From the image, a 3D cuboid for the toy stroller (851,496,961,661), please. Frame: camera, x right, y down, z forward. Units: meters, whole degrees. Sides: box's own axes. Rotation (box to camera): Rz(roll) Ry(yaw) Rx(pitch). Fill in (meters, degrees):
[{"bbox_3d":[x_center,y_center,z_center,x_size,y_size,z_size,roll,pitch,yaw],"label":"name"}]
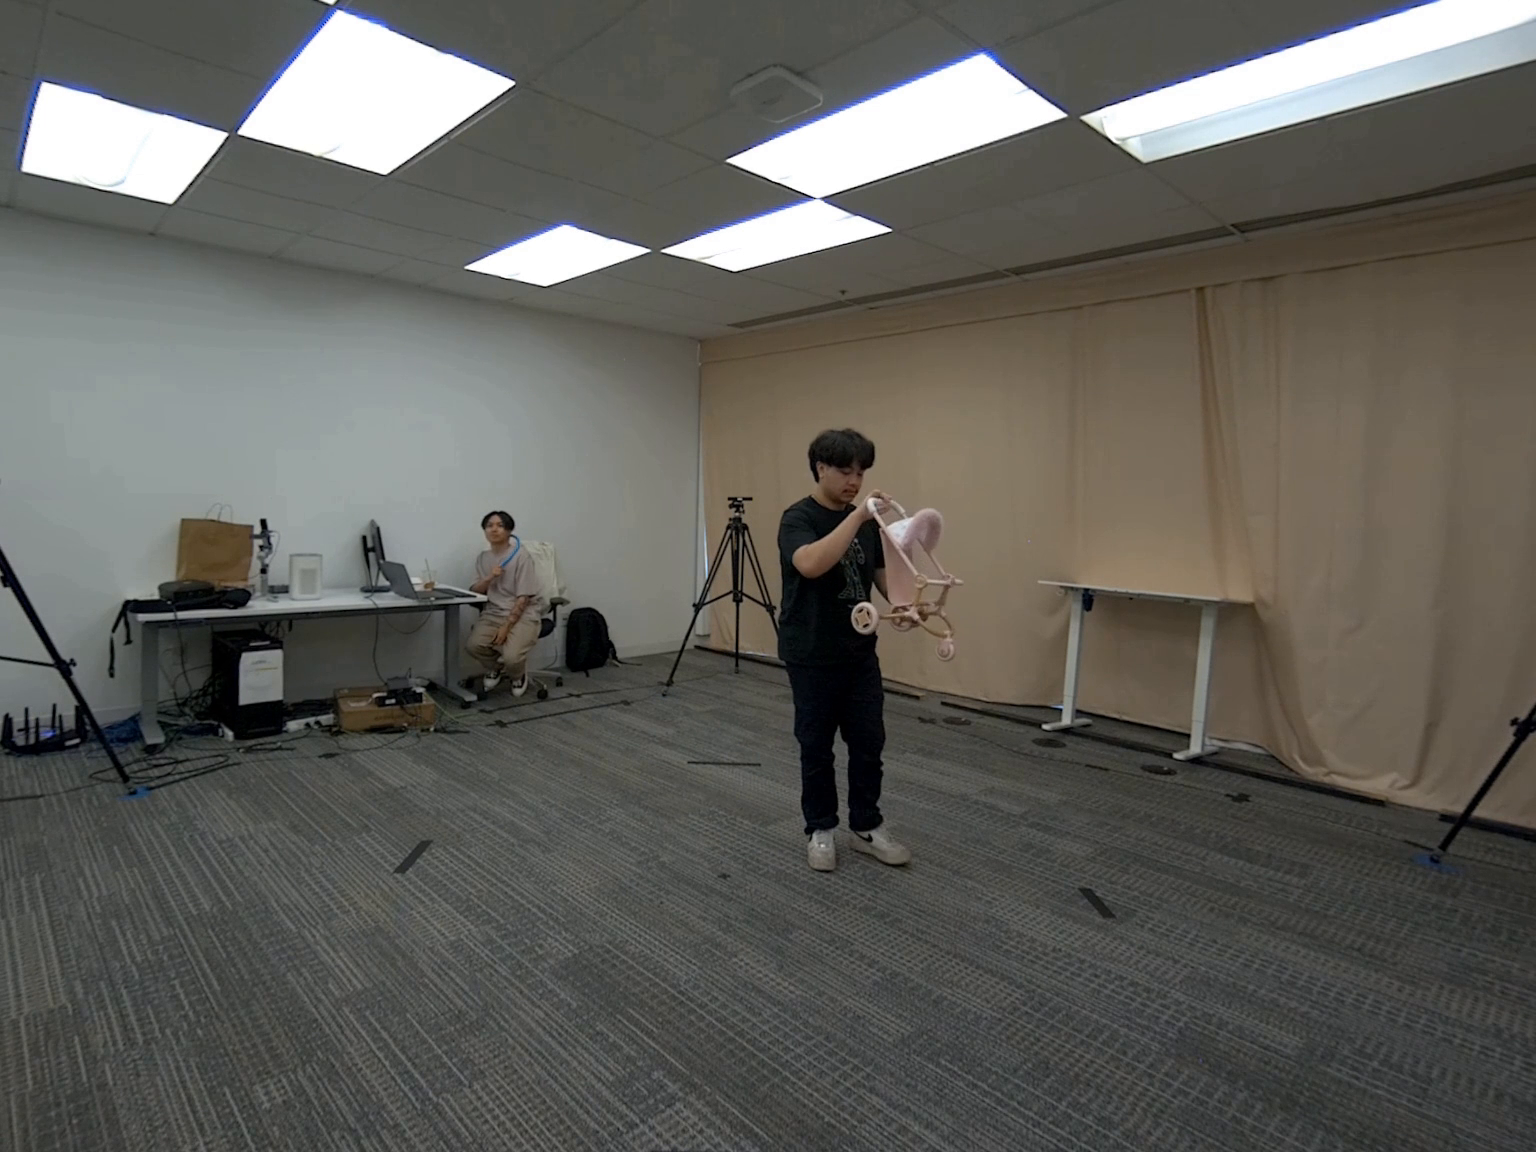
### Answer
[{"bbox_3d":[0.491,0.007,2.883,0.274,0.534,0.350,4,2,-45],"label":"toy stroller"}]
